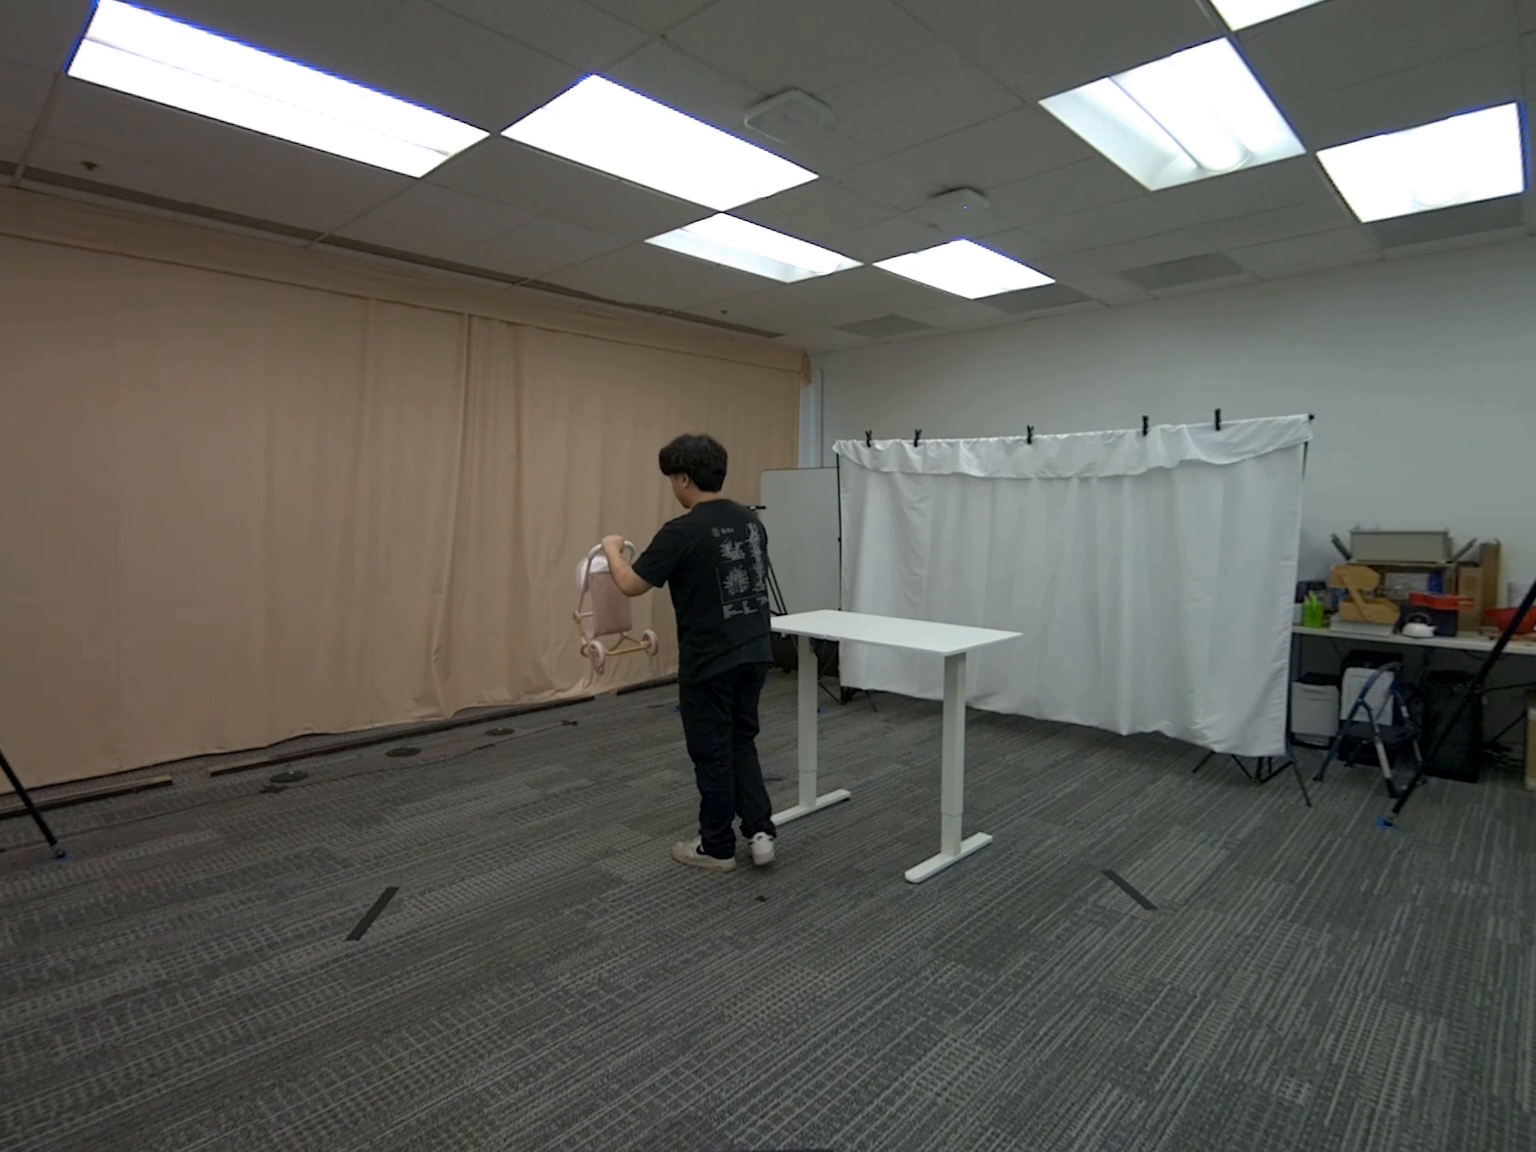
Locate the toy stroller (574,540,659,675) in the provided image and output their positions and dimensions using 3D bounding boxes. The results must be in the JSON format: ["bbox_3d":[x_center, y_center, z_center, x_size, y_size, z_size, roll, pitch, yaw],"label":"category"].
[{"bbox_3d":[-0.668,0.147,3.480,0.274,0.535,0.350,-8,1,-33],"label":"toy stroller"}]
